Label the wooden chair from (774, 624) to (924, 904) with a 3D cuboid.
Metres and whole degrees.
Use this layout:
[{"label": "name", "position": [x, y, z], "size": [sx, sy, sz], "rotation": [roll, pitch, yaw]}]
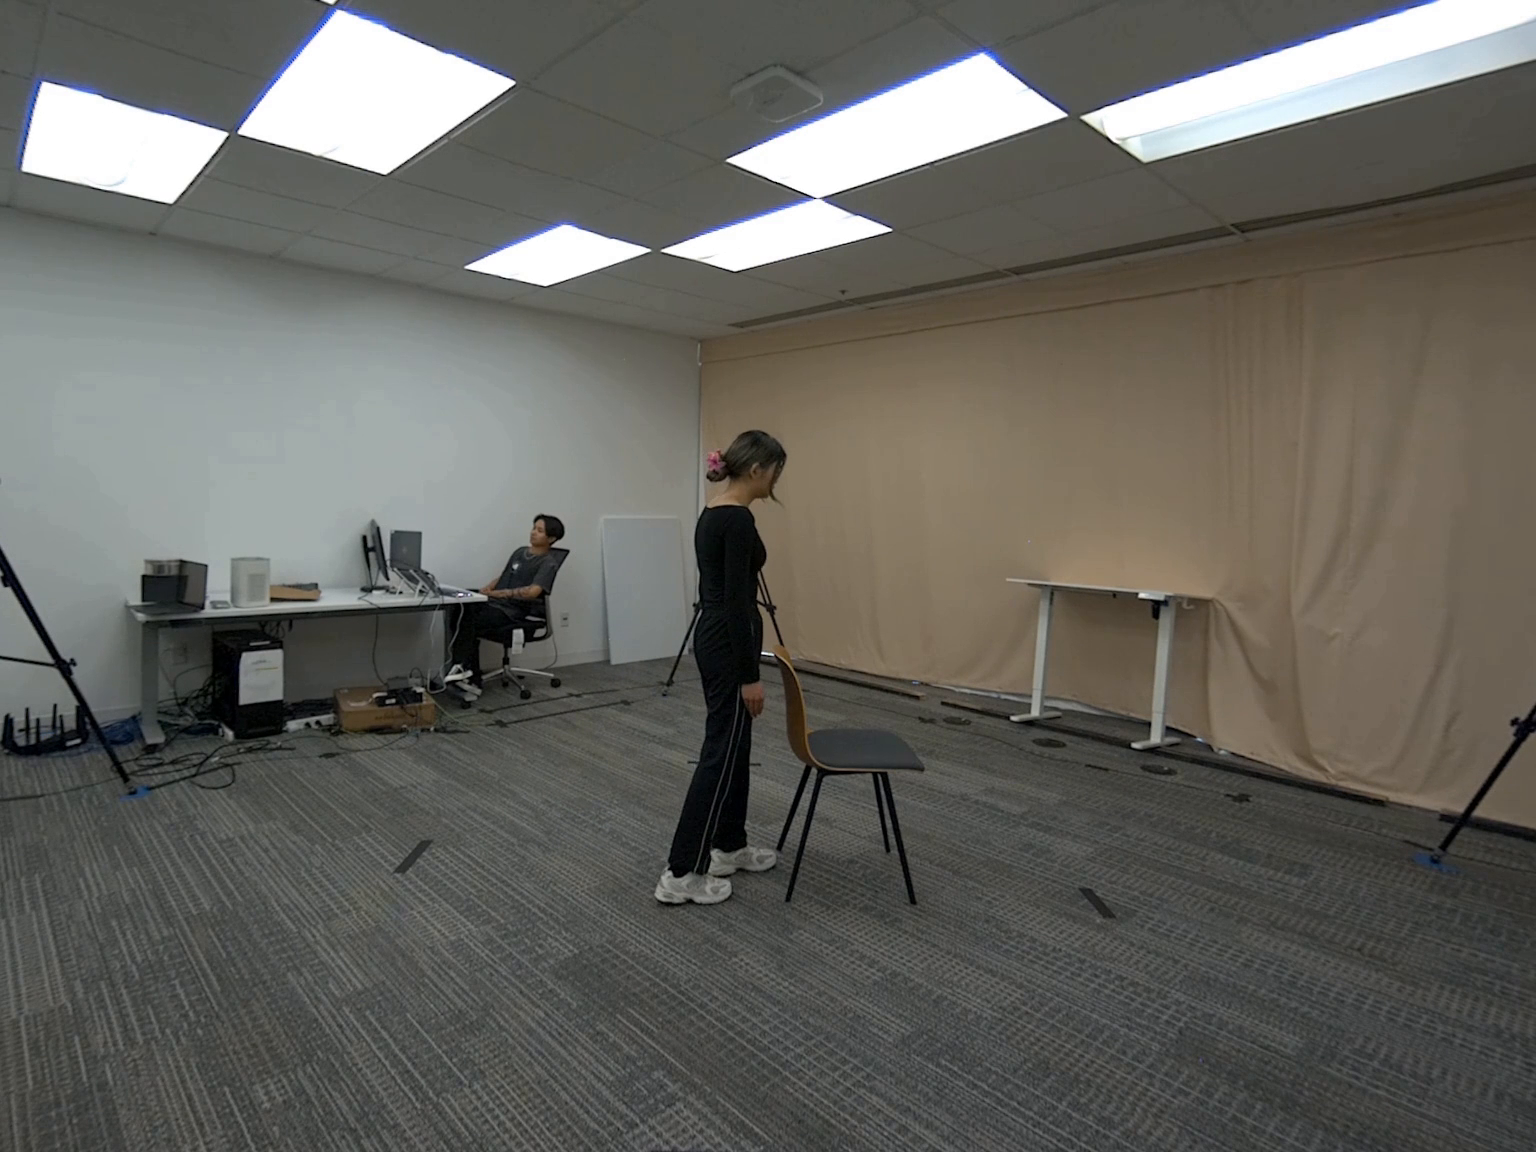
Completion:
[{"label": "wooden chair", "position": [0.289, 0.690, 3.113], "size": [0.522, 0.876, 0.479], "rotation": [-2, 2, -2]}]
